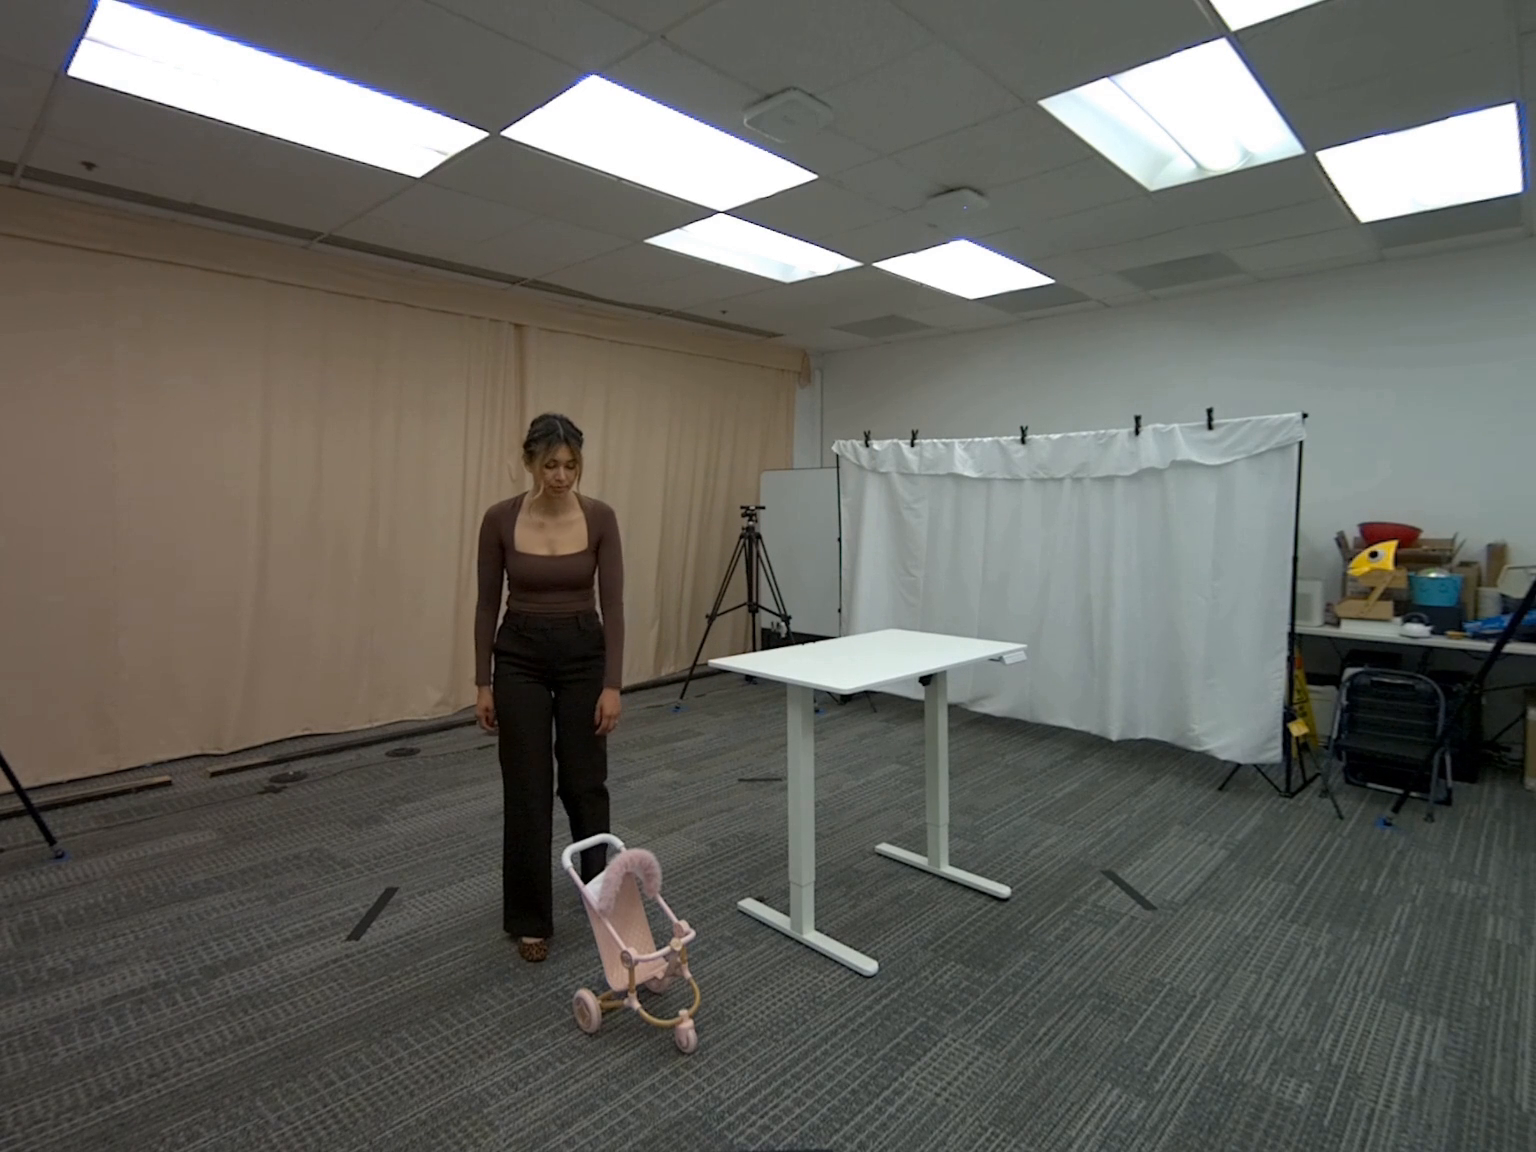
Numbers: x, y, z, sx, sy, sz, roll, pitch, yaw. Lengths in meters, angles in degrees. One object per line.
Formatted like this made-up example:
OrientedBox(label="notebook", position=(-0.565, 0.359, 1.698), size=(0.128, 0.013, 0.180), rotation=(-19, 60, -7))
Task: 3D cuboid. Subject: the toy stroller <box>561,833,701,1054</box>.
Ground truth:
OrientedBox(label="toy stroller", position=(-0.352, 0.981, 2.268), size=(0.273, 0.539, 0.350), rotation=(-3, -11, -44))
